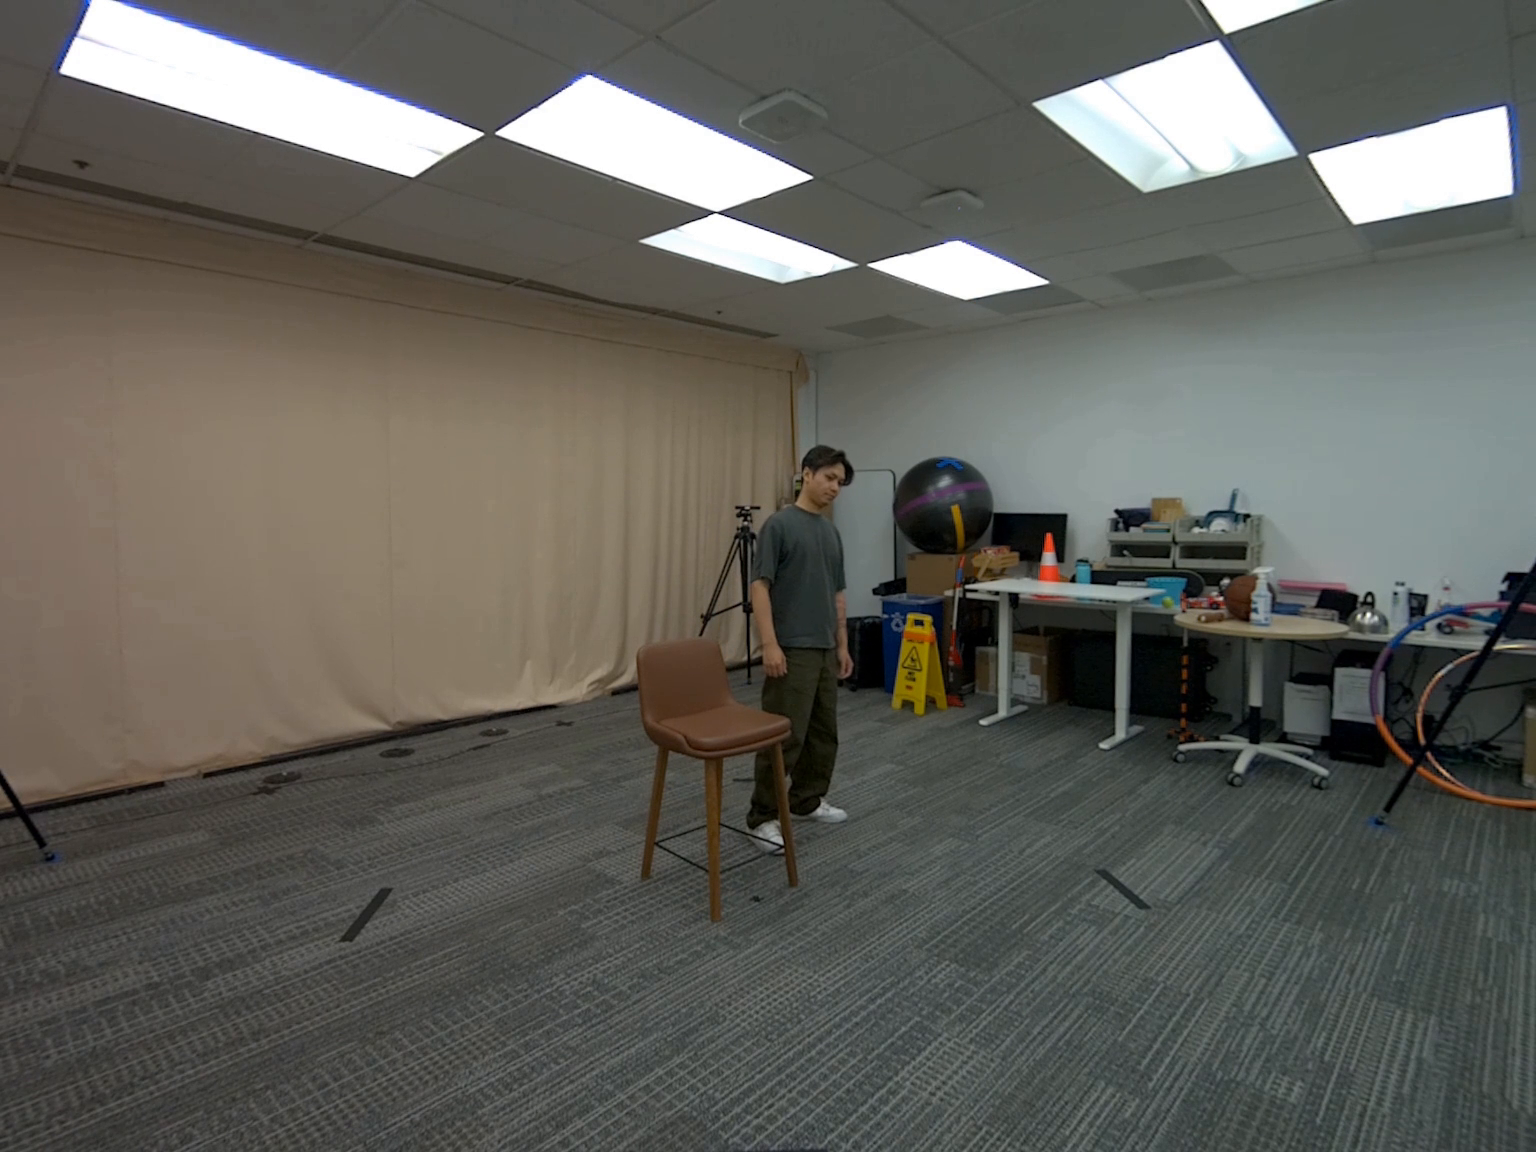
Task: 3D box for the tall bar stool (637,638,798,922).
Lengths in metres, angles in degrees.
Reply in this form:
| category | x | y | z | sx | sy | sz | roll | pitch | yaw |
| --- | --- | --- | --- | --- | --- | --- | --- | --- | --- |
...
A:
| category | x | y | z | sx | sy | sz | roll | pitch | yaw |
| --- | --- | --- | --- | --- | --- | --- | --- | --- | --- |
| tall bar stool | -0.196 | 0.701 | 3.097 | 0.442 | 0.889 | 0.483 | -3 | 2 | -42 |
